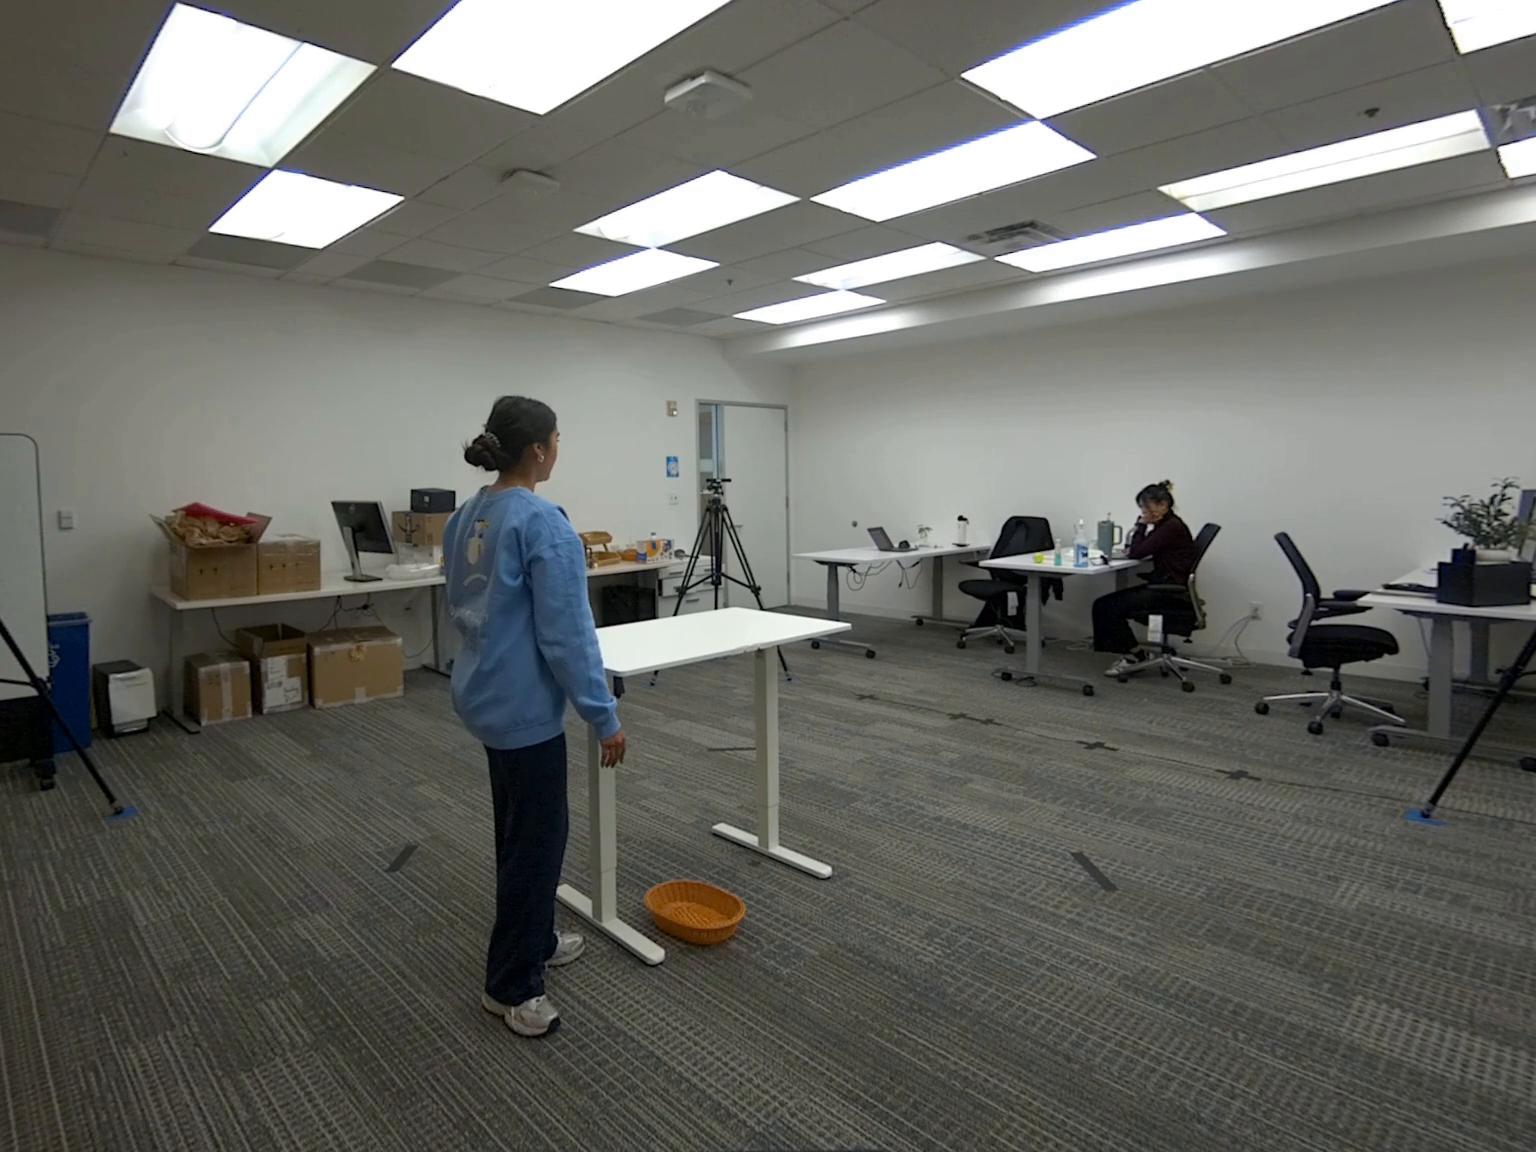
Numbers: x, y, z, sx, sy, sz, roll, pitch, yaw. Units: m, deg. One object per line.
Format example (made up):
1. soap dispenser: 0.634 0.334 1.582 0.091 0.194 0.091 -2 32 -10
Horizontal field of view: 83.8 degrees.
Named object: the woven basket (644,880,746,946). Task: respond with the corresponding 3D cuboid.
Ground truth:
1. woven basket: -0.228 1.056 2.683 0.361 0.073 0.246 4 7 39
